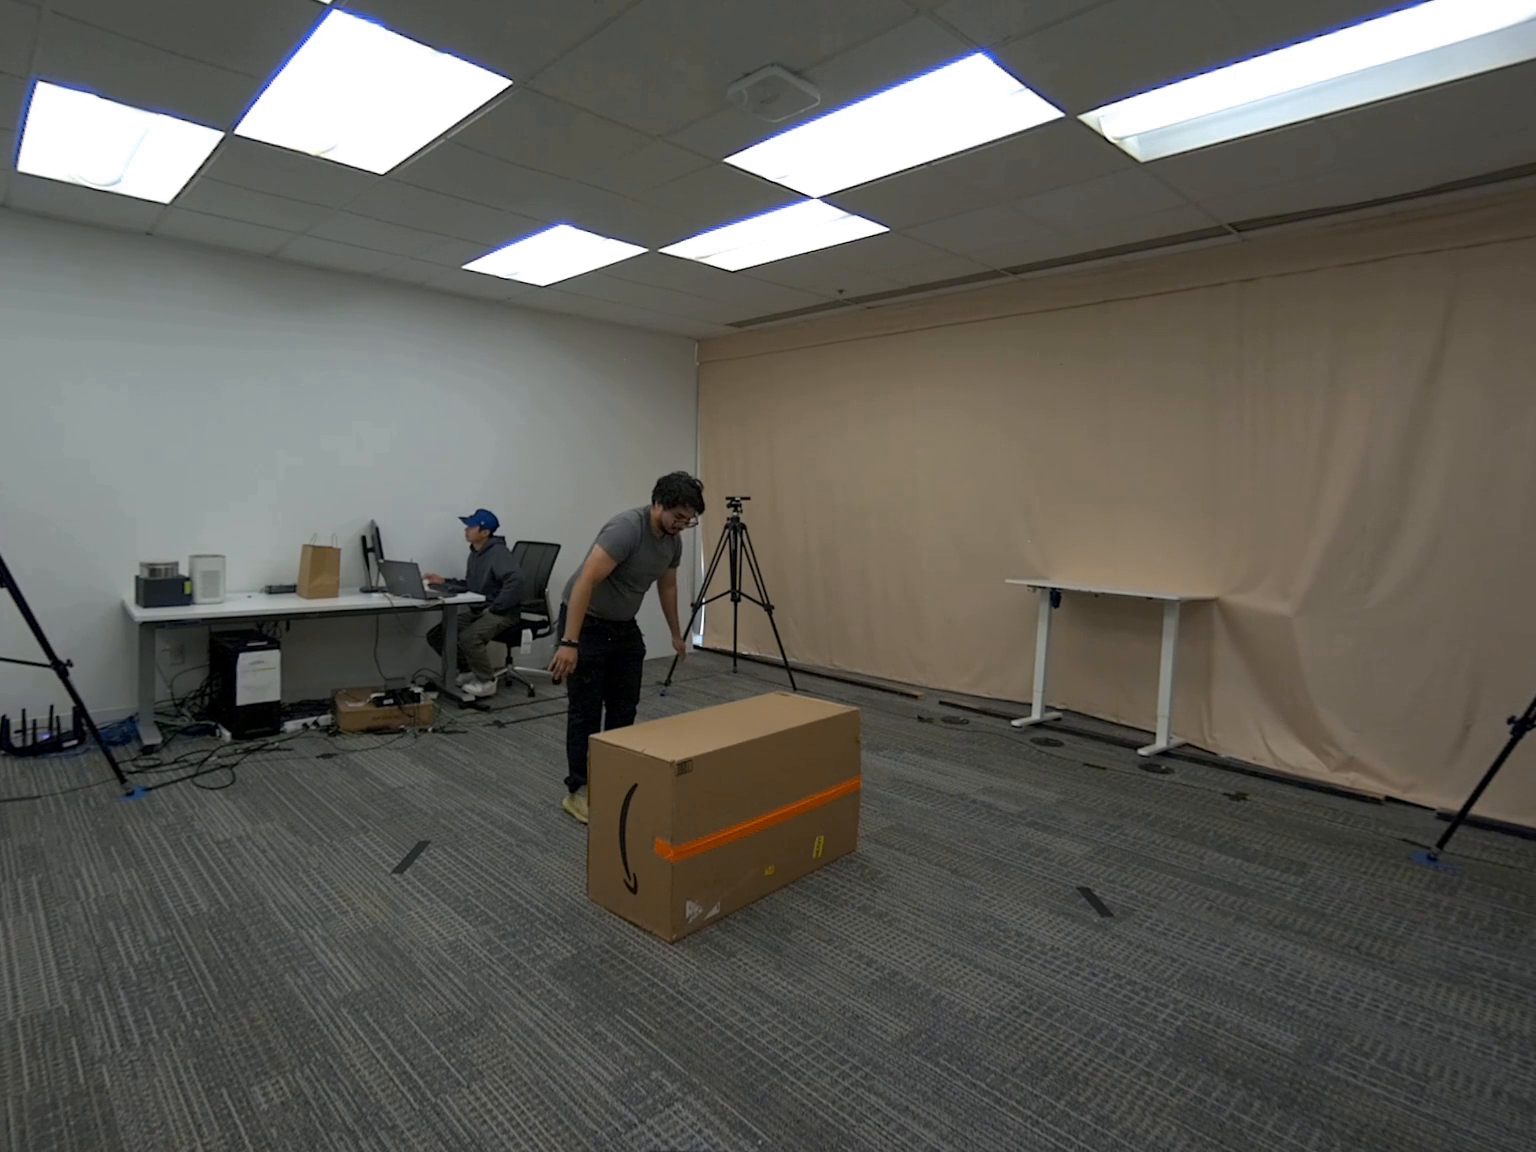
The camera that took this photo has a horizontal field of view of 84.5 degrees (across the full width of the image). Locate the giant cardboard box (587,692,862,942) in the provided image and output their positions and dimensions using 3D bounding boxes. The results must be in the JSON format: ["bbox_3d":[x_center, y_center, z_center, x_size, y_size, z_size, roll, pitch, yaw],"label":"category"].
[{"bbox_3d":[-0.129,0.817,3.108,0.437,0.576,1.003,5,6,41],"label":"giant cardboard box"}]
